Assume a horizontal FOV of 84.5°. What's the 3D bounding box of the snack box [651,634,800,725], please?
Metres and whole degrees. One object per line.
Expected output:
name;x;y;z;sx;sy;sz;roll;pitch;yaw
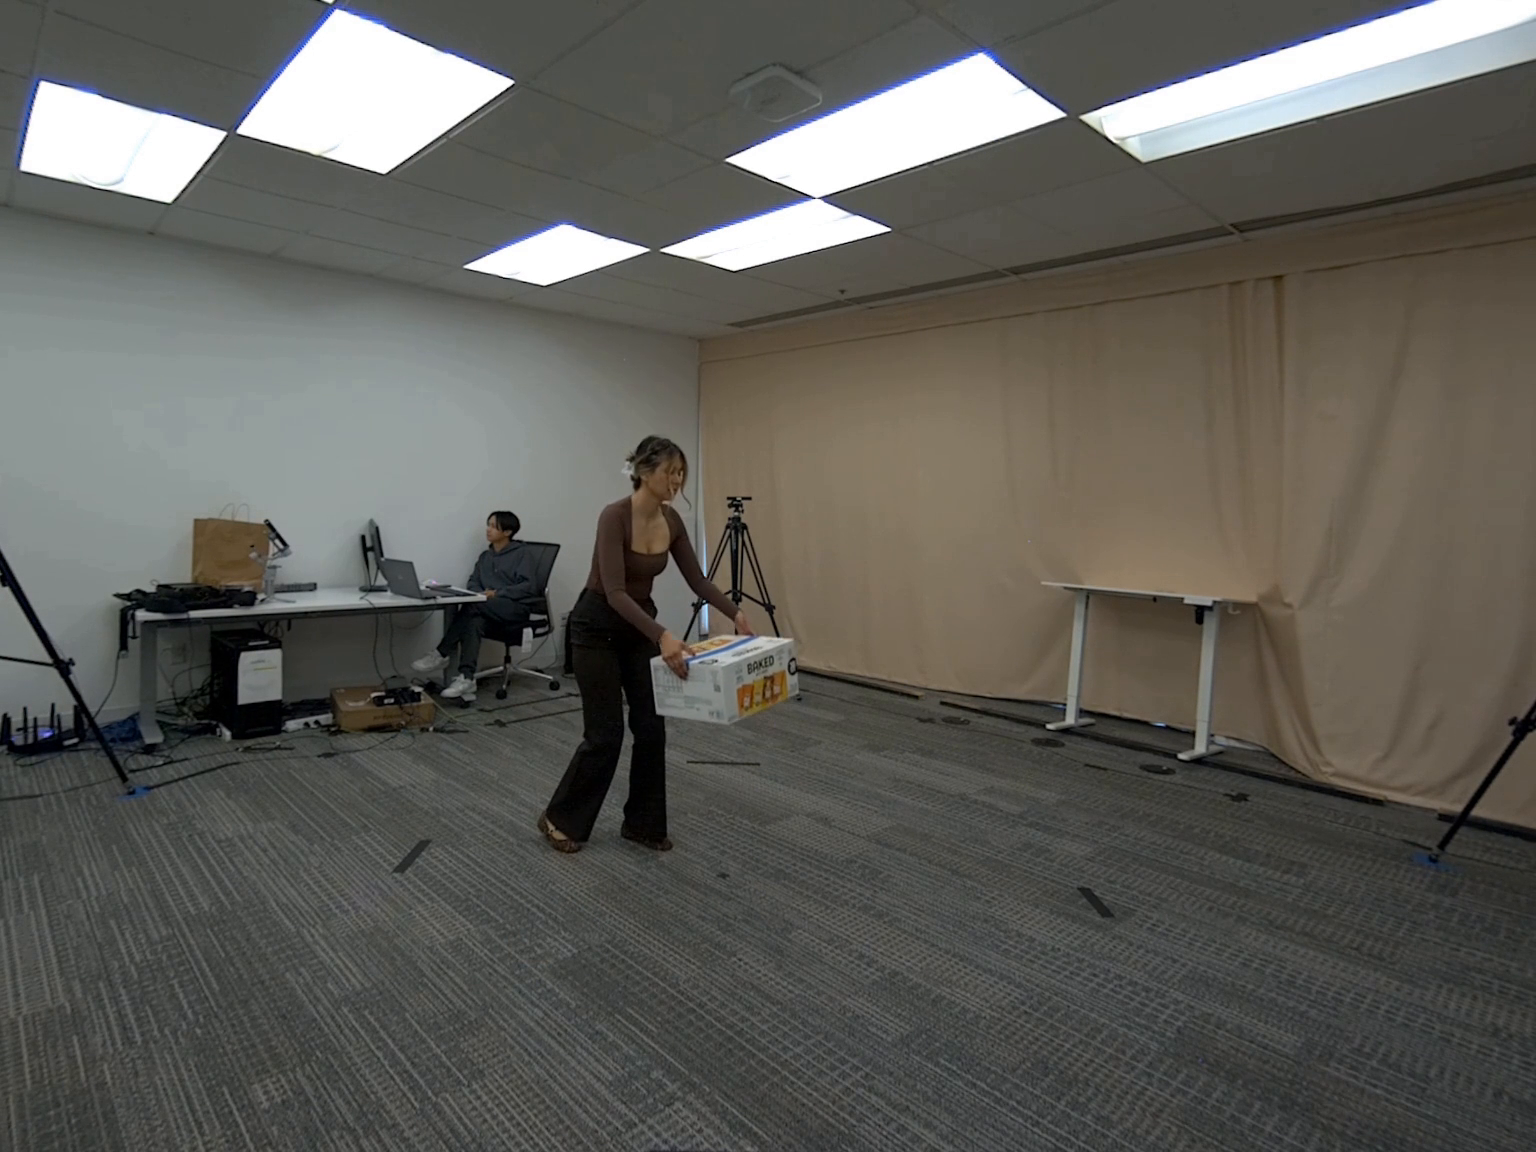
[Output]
snack box;-0.159;0.363;3.008;0.348;0.205;0.398;-1;9;40
